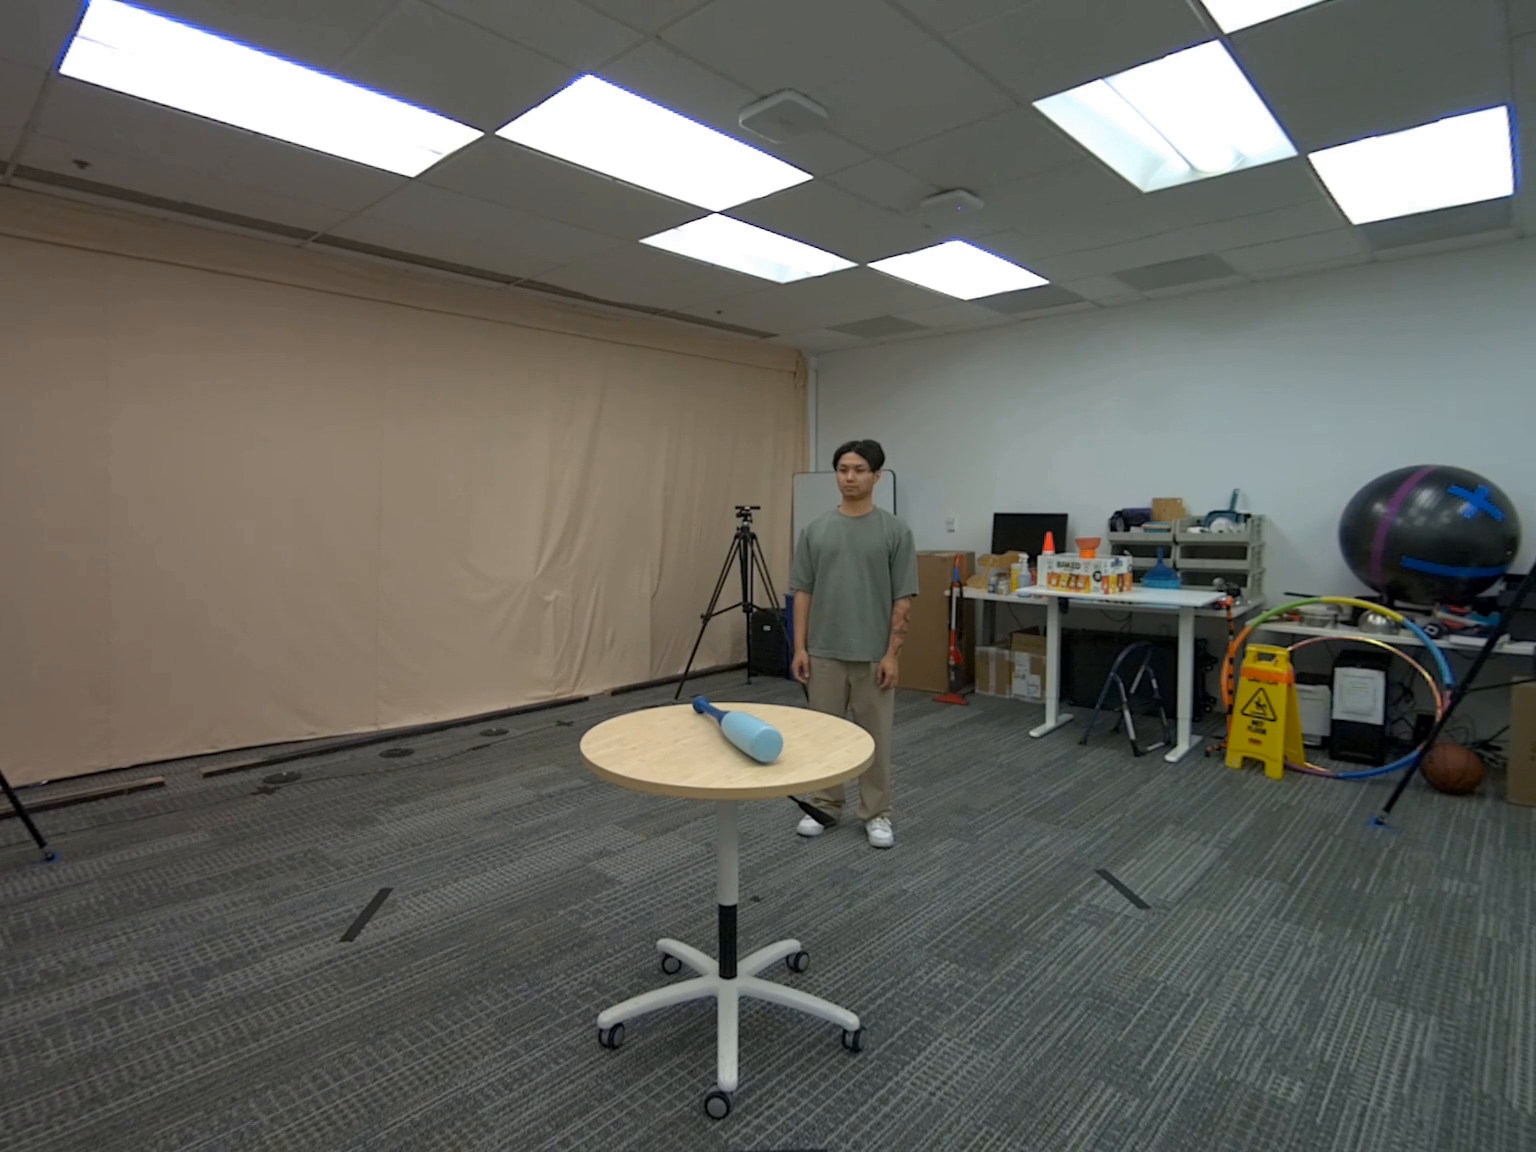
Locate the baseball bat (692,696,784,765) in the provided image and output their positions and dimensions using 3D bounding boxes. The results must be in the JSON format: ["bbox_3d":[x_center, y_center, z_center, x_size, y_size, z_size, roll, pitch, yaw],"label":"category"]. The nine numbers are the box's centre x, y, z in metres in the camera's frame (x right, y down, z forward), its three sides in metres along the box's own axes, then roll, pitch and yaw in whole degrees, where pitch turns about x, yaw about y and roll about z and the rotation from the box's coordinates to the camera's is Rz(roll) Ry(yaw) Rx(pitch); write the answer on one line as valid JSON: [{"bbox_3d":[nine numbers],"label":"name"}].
[{"bbox_3d":[-0.095,0.390,2.222,0.087,0.089,0.555,-1,3,-22],"label":"baseball bat"}]
